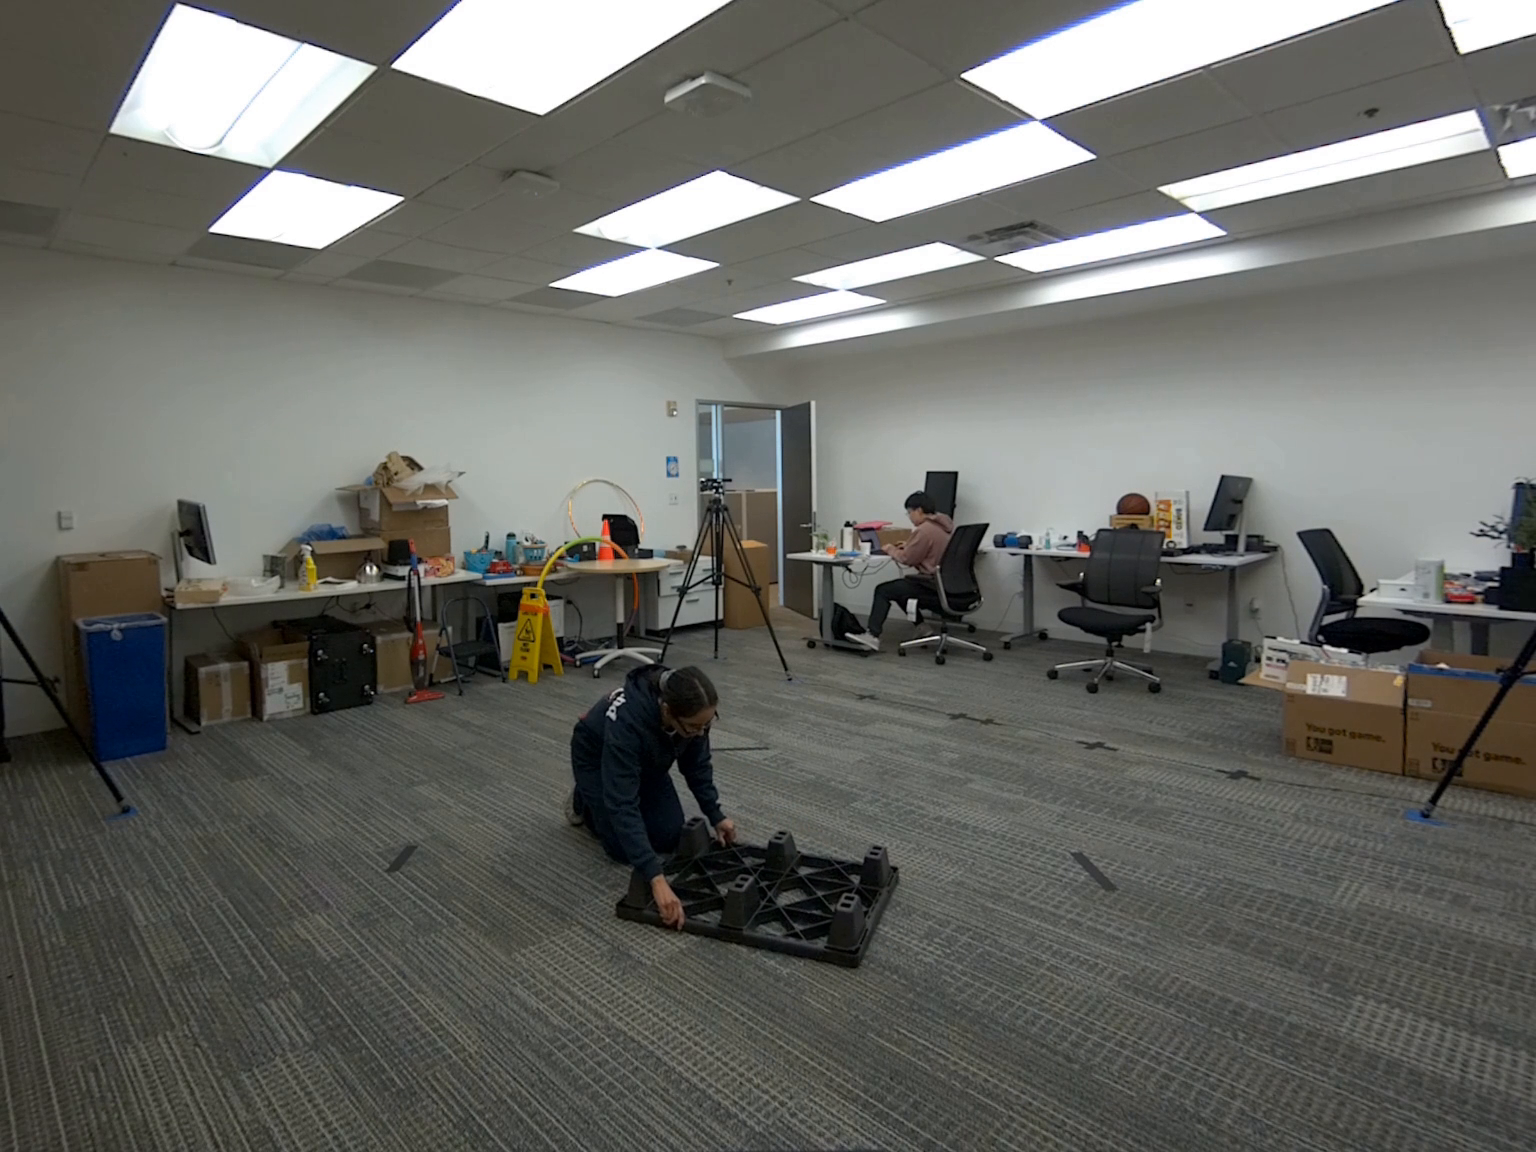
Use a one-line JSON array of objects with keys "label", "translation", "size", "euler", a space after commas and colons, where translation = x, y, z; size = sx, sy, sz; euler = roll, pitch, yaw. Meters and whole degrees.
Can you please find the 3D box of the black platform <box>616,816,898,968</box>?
[{"label": "black platform", "translation": [-0.020, 1.009, 2.841], "size": [0.823, 0.143, 0.594], "euler": [1, 6, 23]}]
